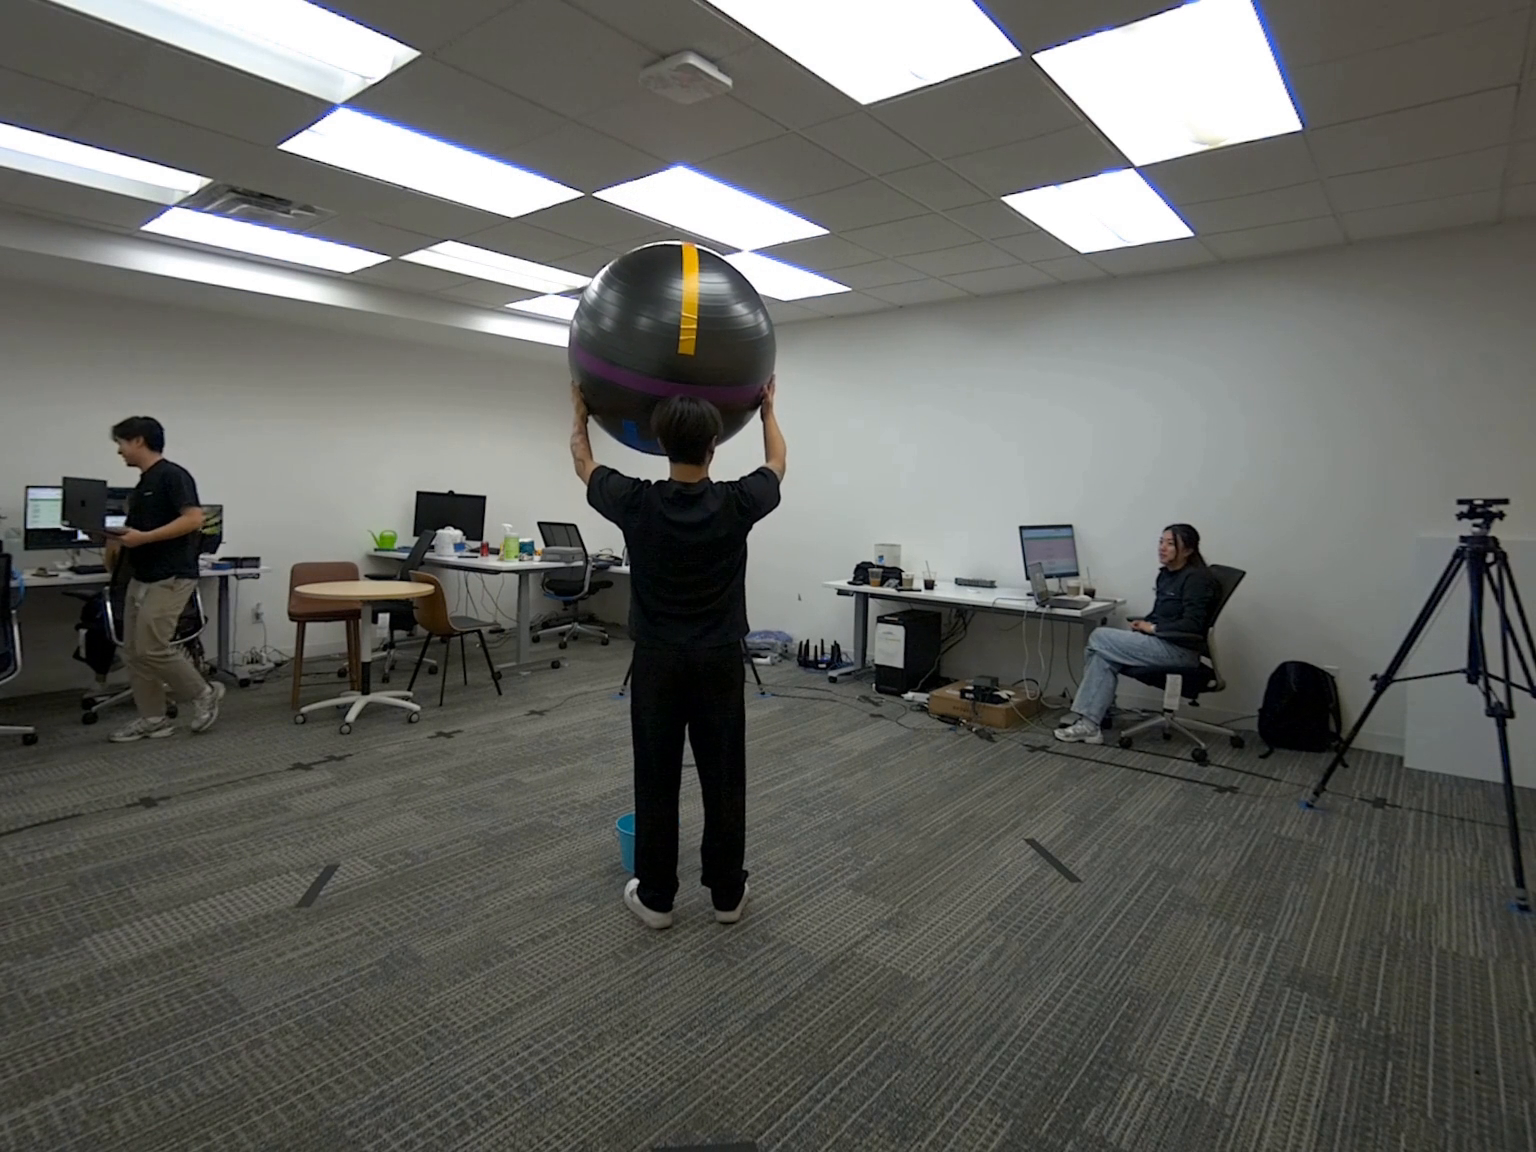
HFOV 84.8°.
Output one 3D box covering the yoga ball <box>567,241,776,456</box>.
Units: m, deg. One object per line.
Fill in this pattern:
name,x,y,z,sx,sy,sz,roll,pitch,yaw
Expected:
yoga ball,-0.354,-0.814,3.104,0.757,0.755,0.762,1,4,-2
